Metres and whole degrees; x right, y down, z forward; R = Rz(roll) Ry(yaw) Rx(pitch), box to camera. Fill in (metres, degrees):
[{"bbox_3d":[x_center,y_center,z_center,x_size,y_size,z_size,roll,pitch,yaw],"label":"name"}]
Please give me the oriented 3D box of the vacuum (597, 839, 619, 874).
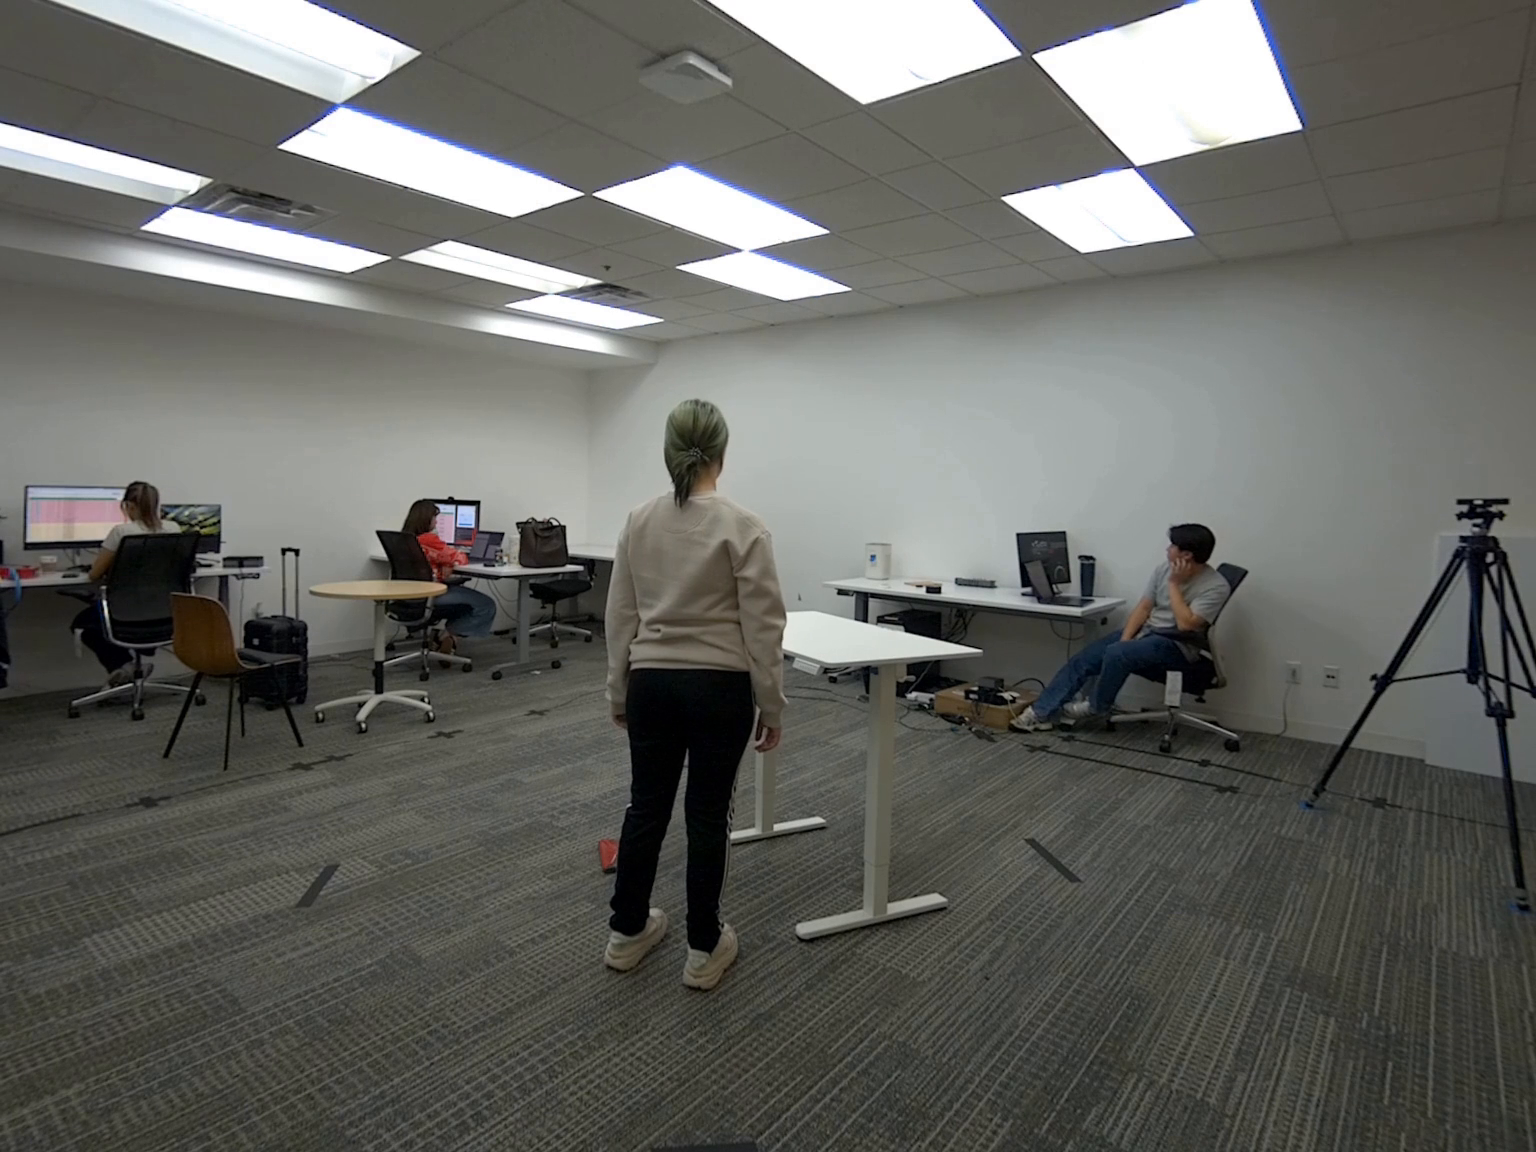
[{"bbox_3d":[-0.380,0.563,3.211,0.141,1.050,0.258,23,-2,-19],"label":"vacuum"}]
